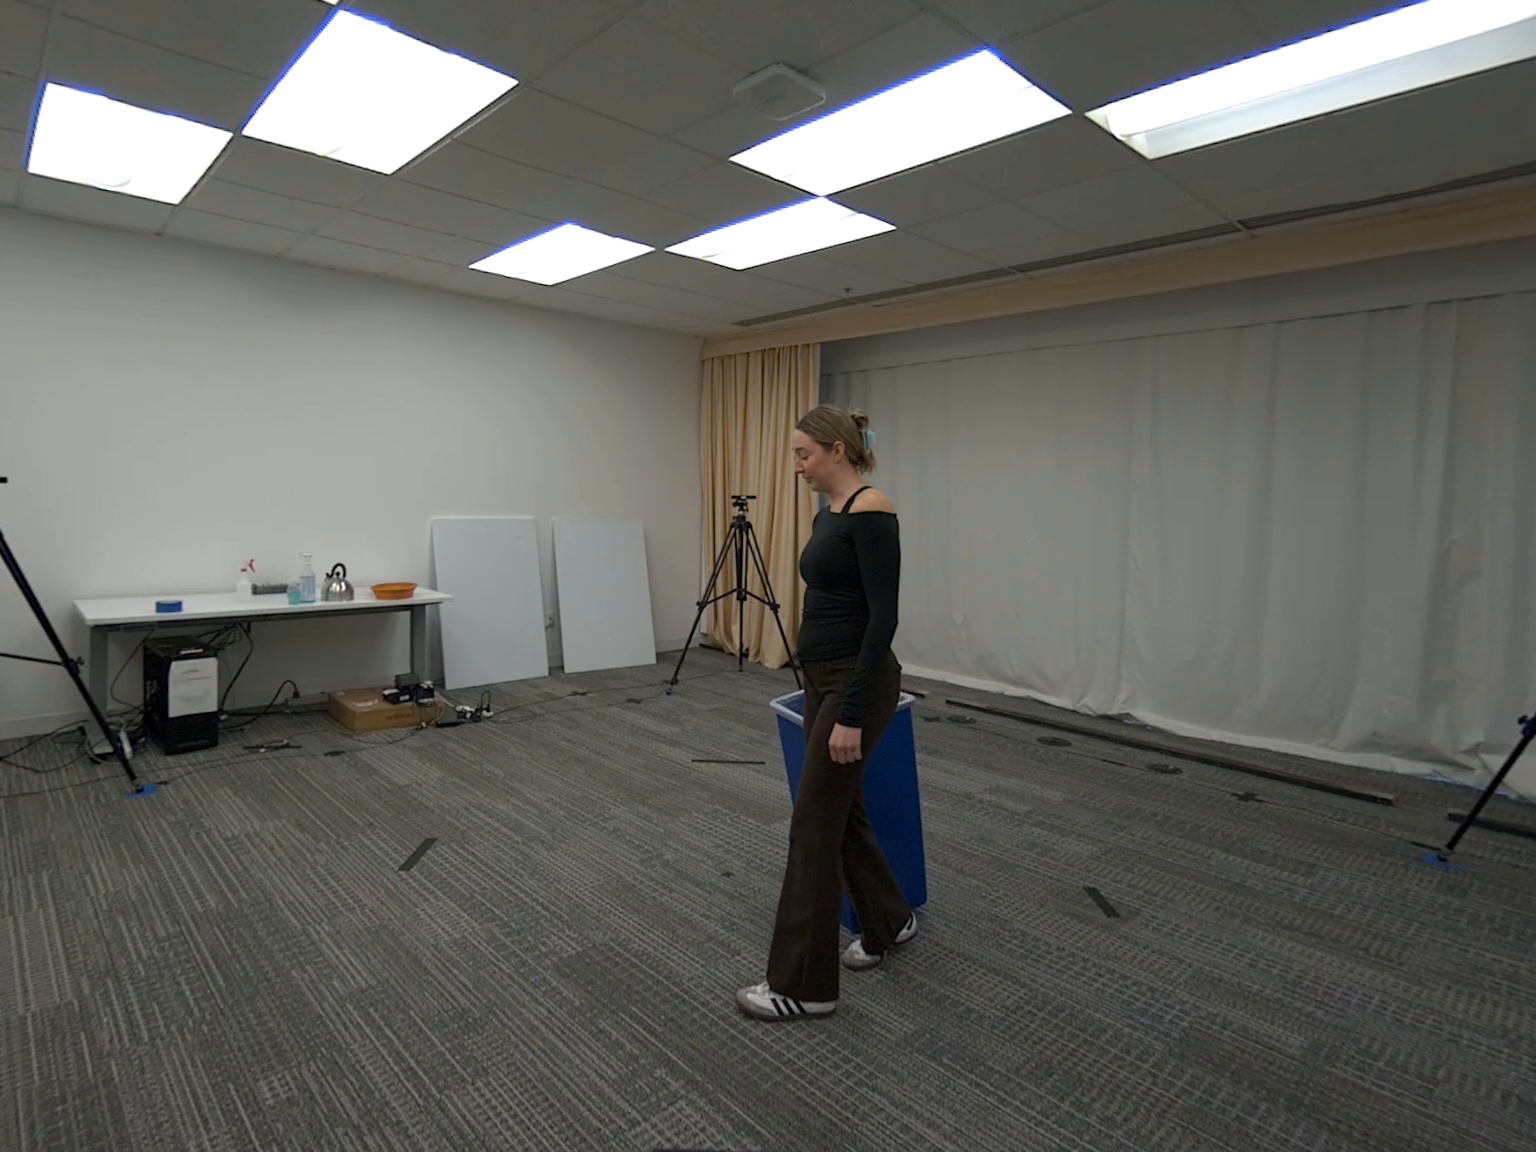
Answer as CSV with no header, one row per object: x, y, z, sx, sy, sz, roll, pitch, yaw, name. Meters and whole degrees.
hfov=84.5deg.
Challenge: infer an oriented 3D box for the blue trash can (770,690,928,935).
0.284,0.758,2.831,0.369,0.709,0.386,-11,8,-25,blue trash can
